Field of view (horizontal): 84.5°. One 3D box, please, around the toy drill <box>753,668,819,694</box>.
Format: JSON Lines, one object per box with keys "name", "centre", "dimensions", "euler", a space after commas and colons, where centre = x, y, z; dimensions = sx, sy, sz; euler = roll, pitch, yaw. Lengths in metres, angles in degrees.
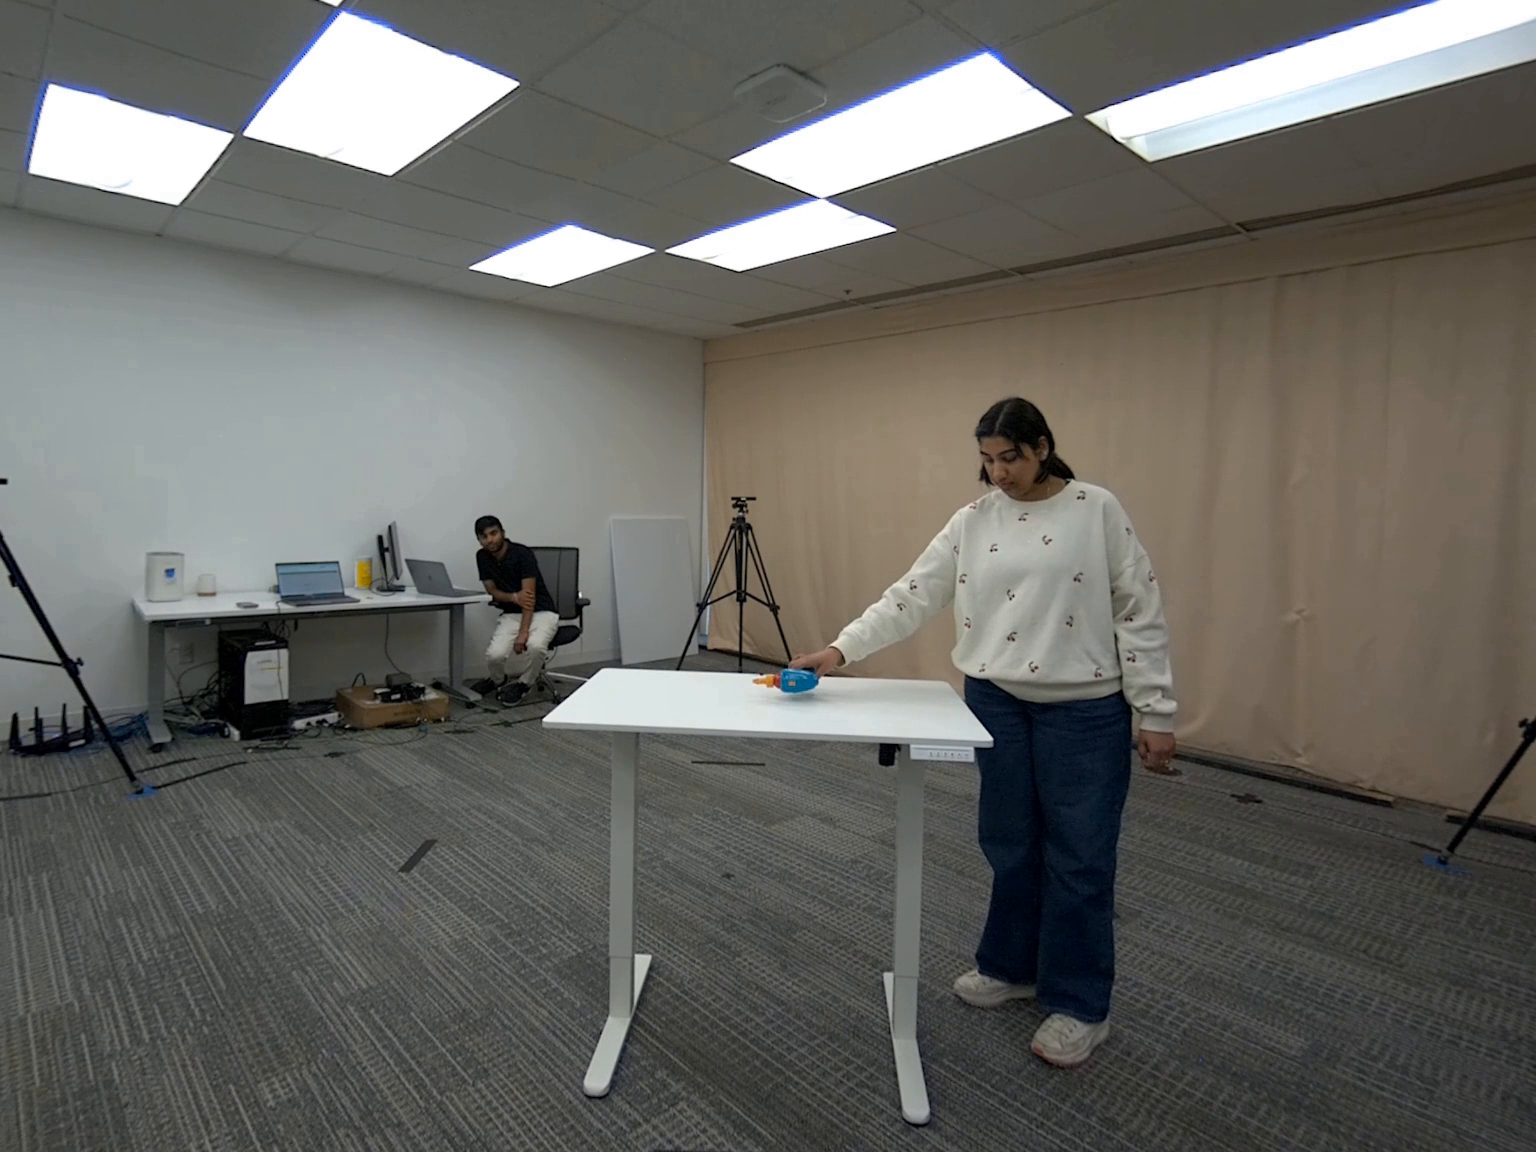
{"name": "toy drill", "centre": [0.035, 0.263, 2.200], "dimensions": [0.170, 0.061, 0.146], "euler": [-2, 3, 2]}
